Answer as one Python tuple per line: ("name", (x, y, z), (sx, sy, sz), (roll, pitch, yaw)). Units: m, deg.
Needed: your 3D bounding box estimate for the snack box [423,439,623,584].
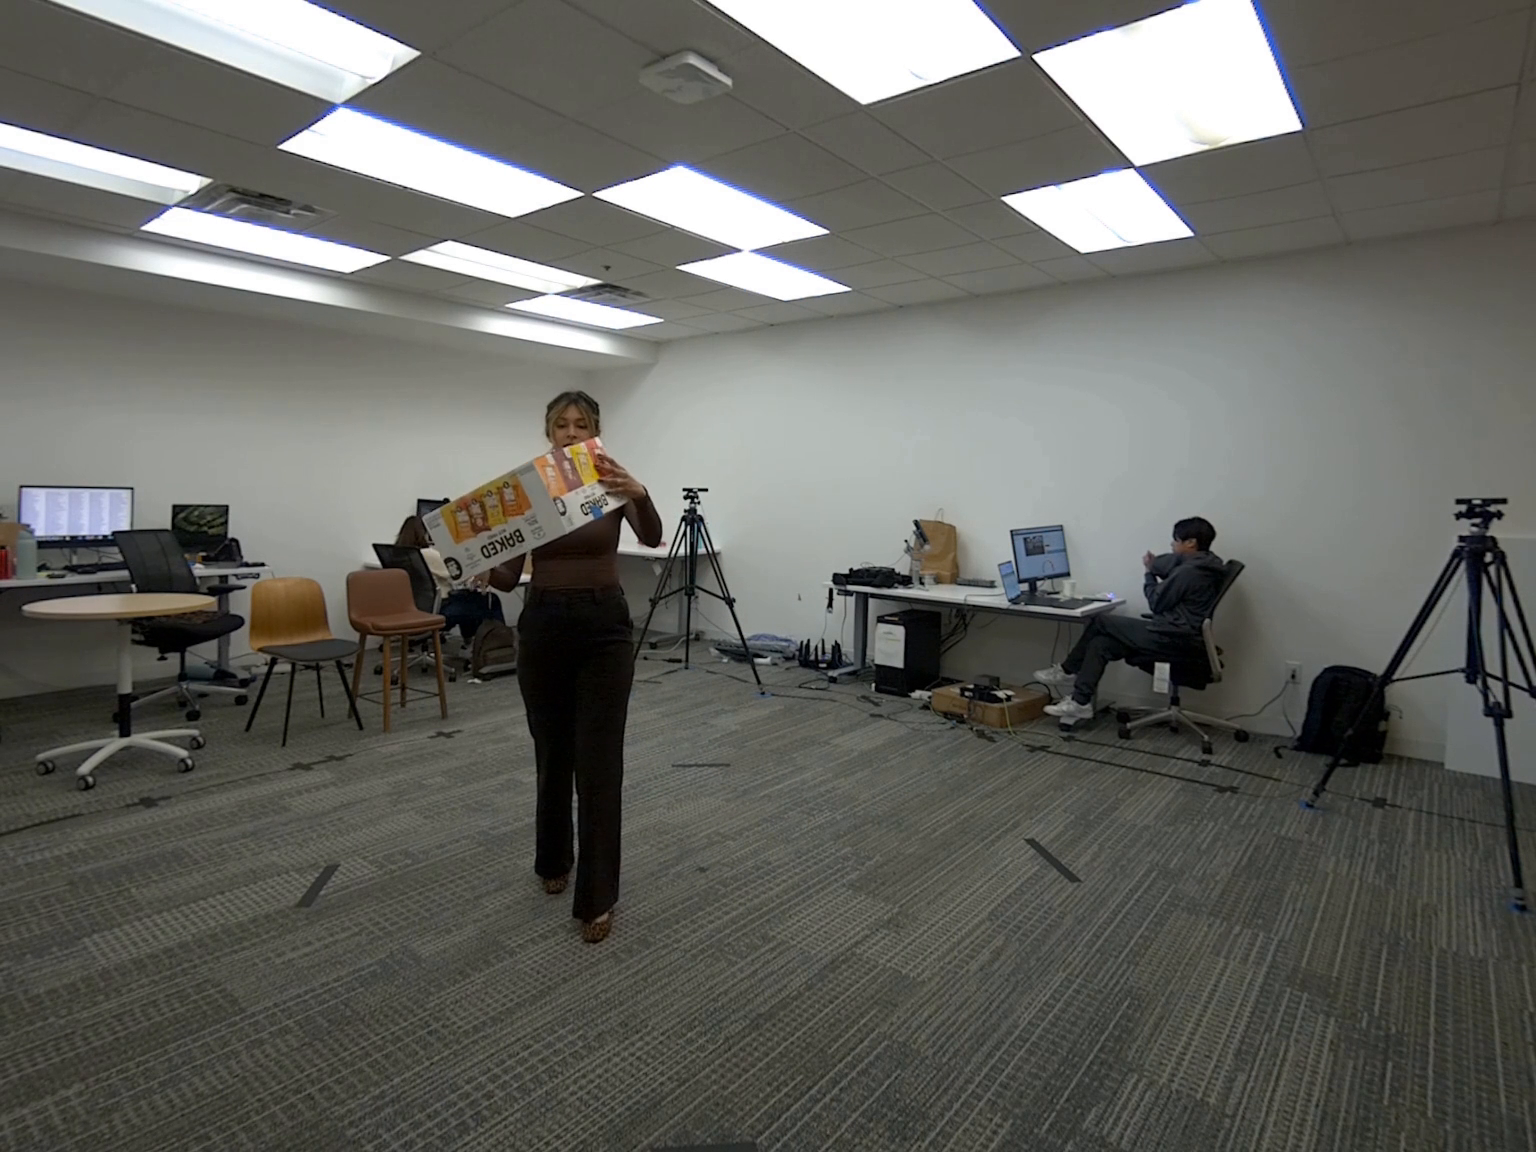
("snack box", (-0.670, -0.187, 2.321), (0.411, 0.203, 0.339), (-20, 10, 25))
